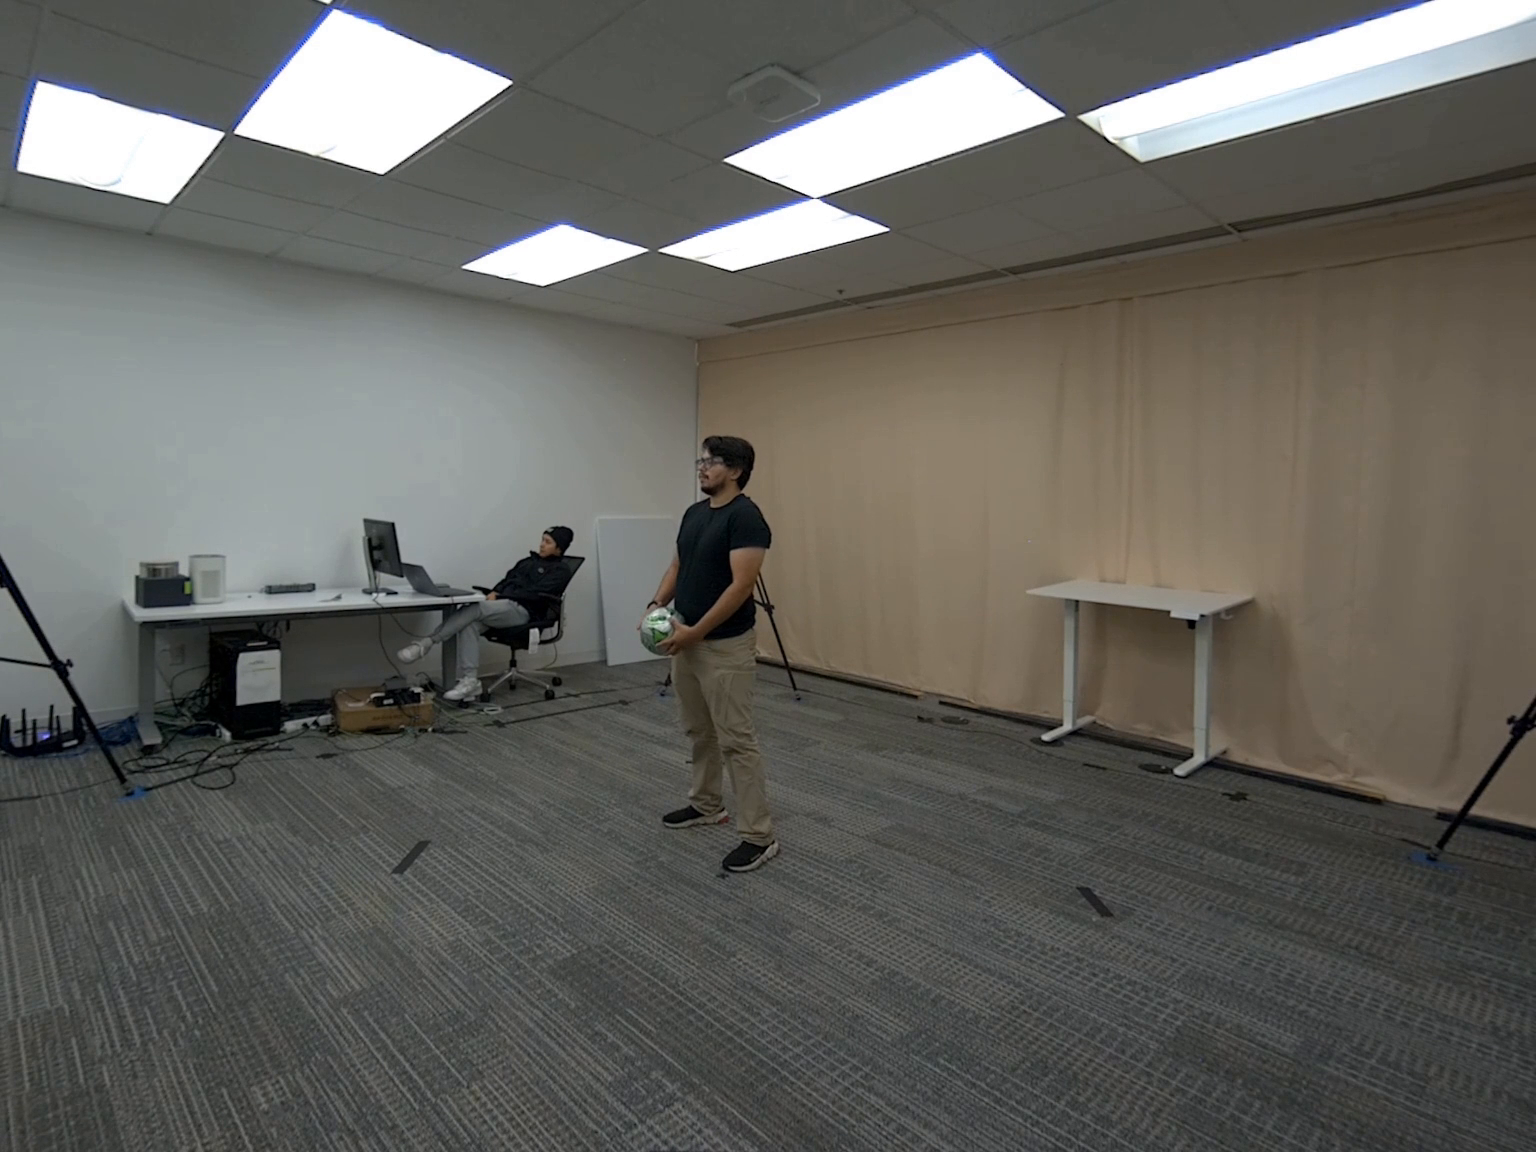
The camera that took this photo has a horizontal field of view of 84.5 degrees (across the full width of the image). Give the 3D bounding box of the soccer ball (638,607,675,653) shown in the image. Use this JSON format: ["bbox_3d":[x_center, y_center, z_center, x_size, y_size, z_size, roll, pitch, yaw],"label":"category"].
[{"bbox_3d":[-0.414,0.210,3.279,0.187,0.187,0.188,1,4,-1],"label":"soccer ball"}]
